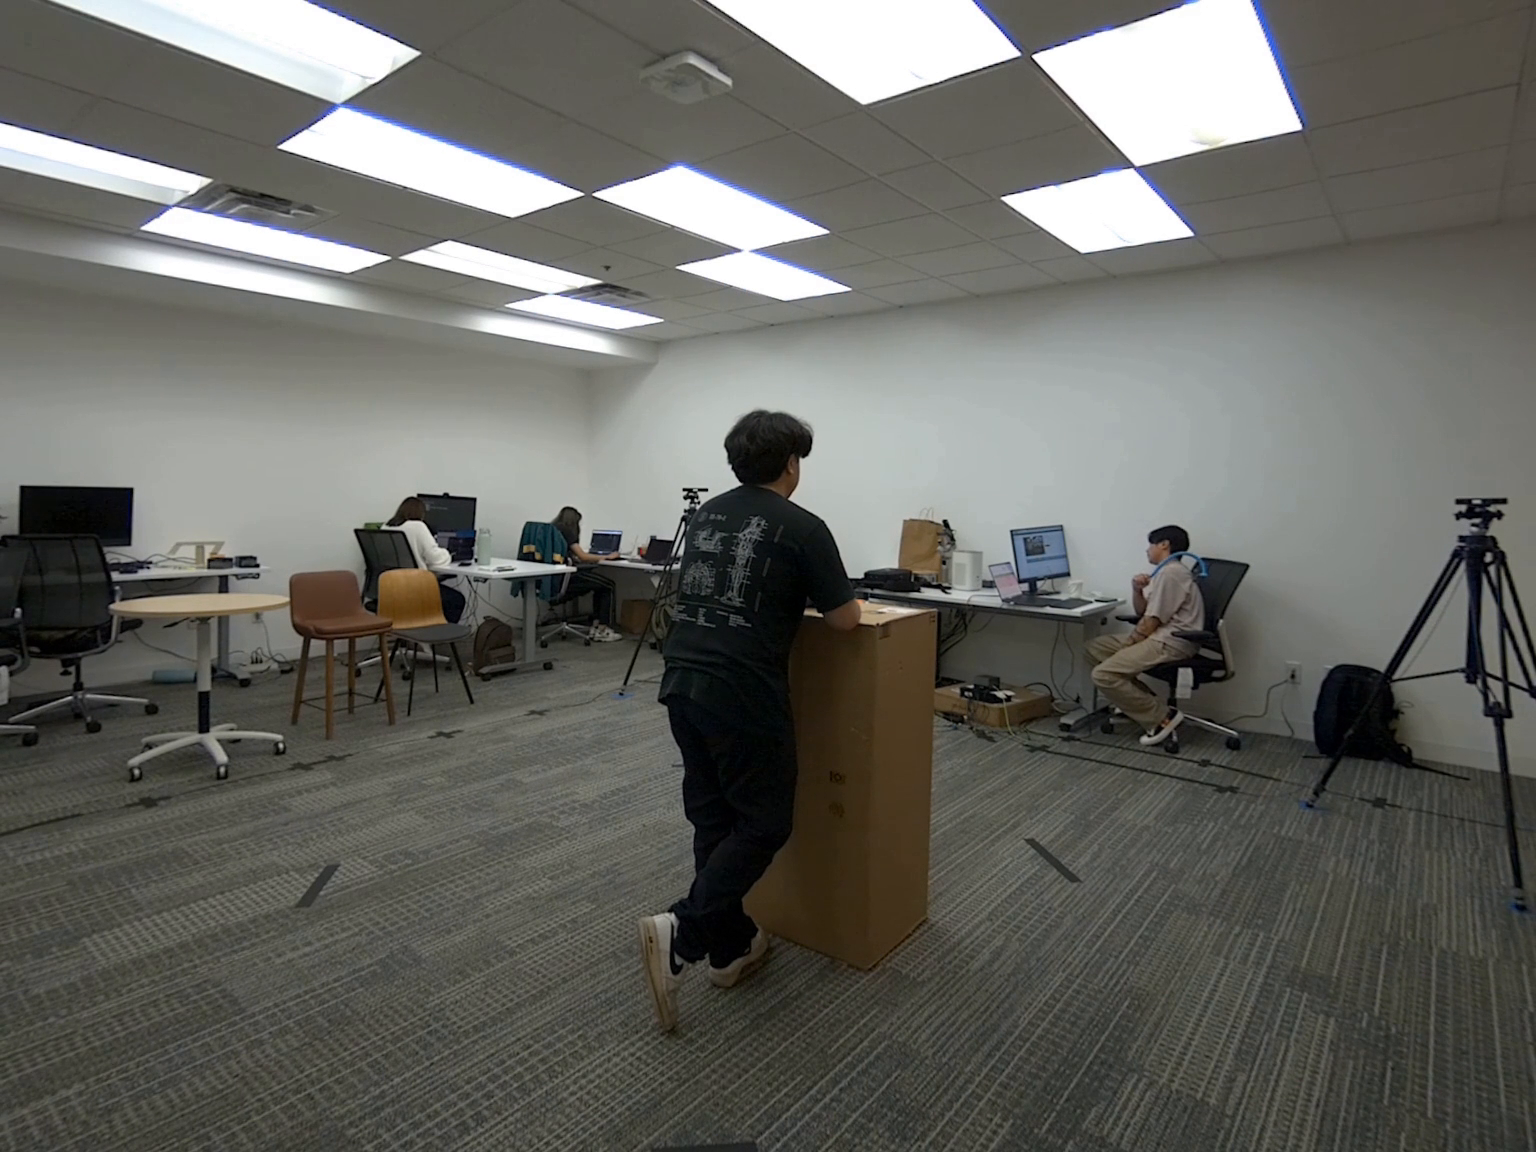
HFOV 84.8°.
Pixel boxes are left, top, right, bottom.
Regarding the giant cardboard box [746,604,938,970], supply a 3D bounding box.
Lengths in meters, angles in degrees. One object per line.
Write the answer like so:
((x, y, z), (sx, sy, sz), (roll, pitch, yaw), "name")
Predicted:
((0.180, 0.600, 2.781), (0.603, 1.024, 0.433), (4, 4, 37), "giant cardboard box")
